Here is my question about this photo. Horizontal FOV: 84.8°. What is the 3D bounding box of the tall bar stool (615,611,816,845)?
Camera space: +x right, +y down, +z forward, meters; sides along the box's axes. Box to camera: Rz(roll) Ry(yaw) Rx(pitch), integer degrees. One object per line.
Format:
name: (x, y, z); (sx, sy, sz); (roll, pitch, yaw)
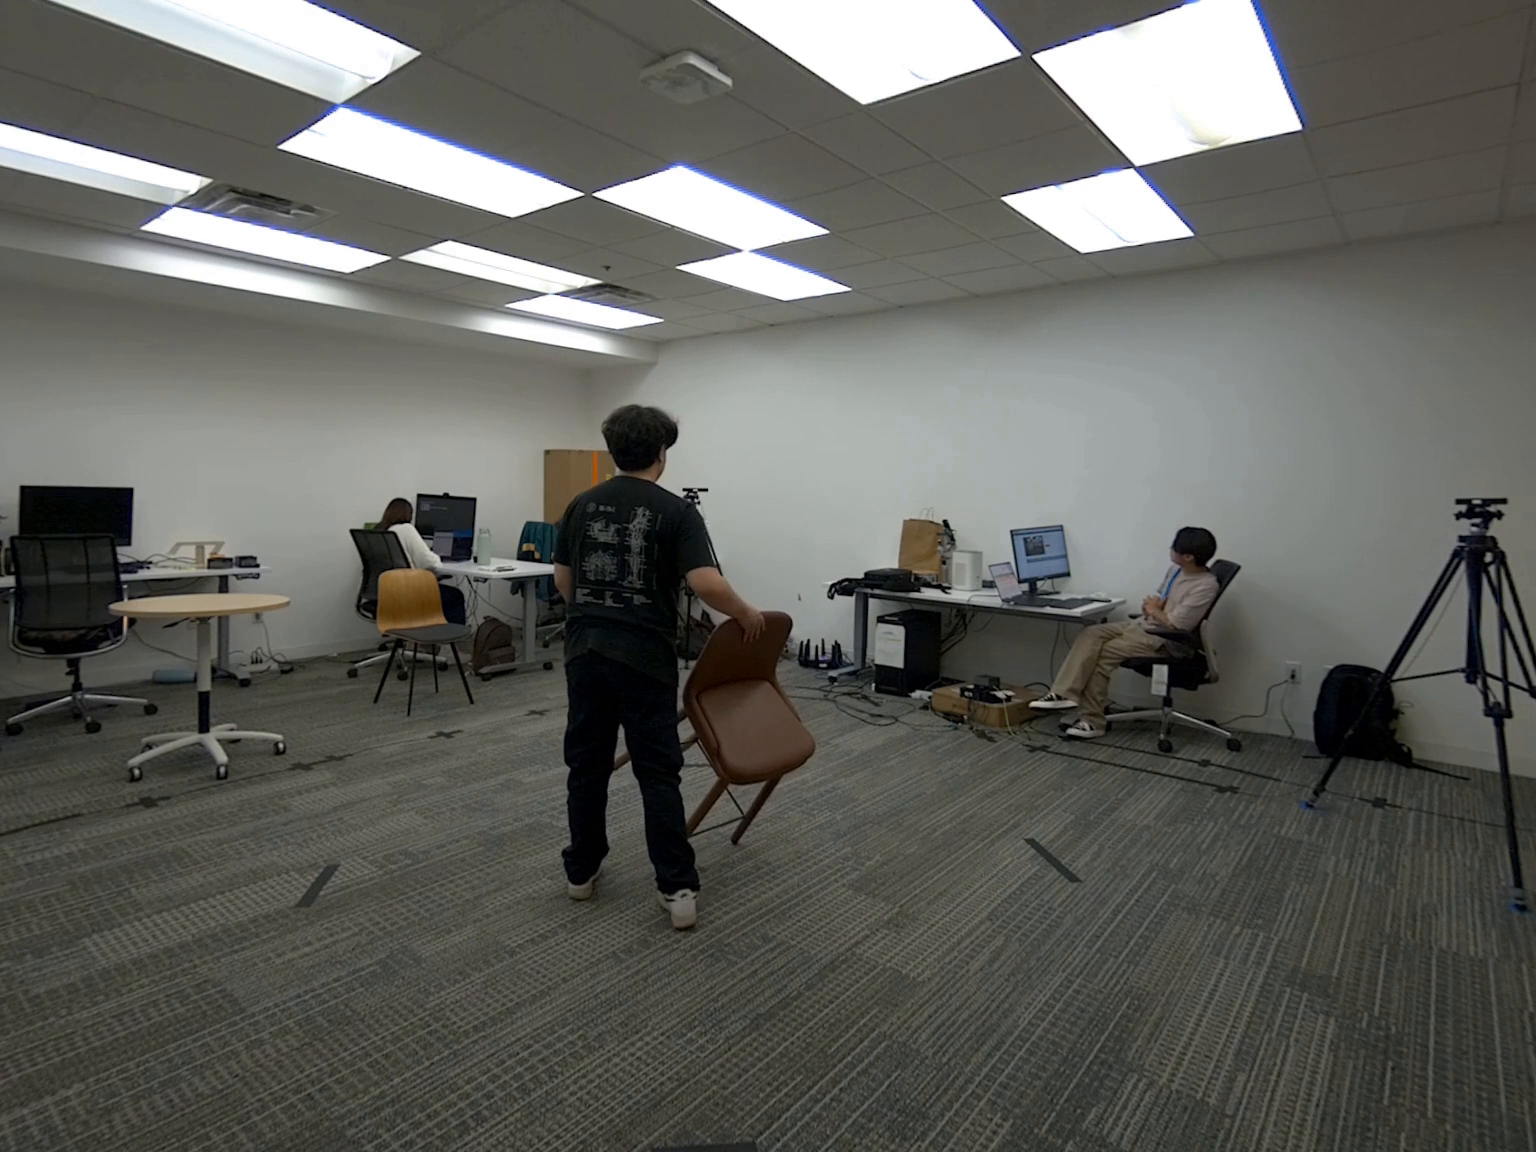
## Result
tall bar stool: (-0.164, 0.595, 3.101); (0.442, 0.885, 0.485); (-2, 46, -45)
